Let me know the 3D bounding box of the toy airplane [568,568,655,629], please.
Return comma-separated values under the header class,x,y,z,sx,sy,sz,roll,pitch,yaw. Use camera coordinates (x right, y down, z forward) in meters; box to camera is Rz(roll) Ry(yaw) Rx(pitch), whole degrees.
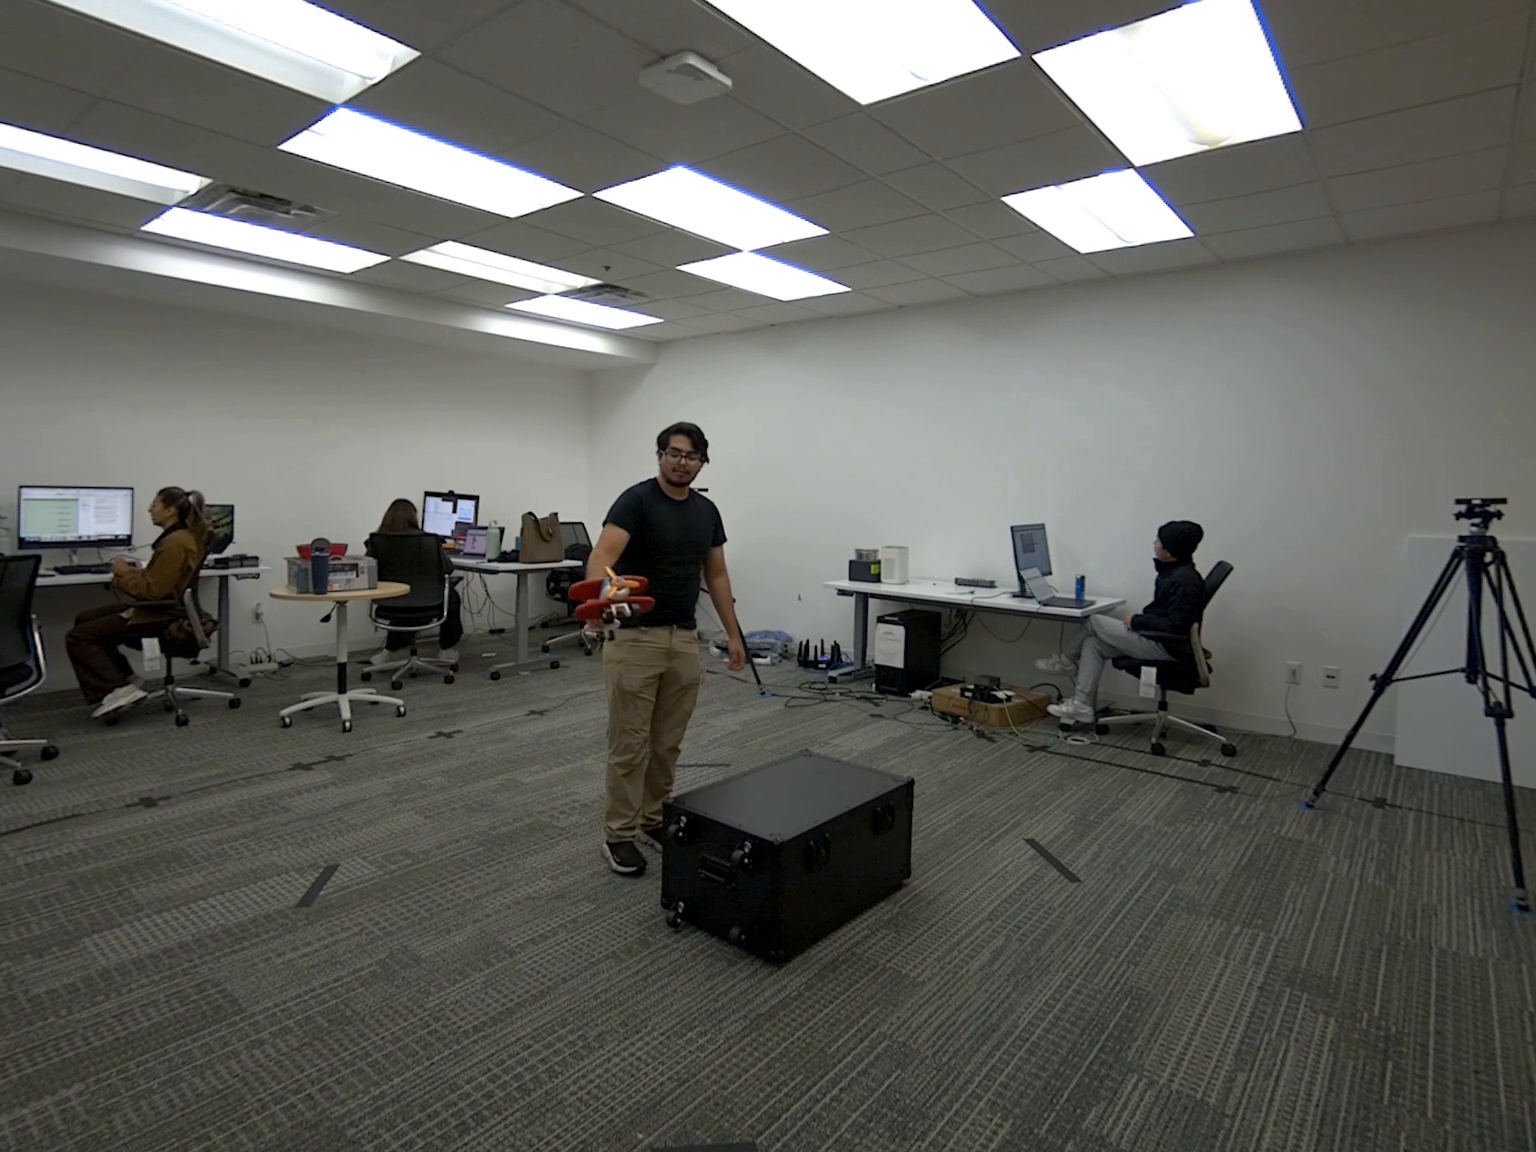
class,x,y,z,sx,sy,sz,roll,pitch,yaw
toy airplane,-0.520,0.101,2.666,0.262,0.160,0.242,-27,-22,31
